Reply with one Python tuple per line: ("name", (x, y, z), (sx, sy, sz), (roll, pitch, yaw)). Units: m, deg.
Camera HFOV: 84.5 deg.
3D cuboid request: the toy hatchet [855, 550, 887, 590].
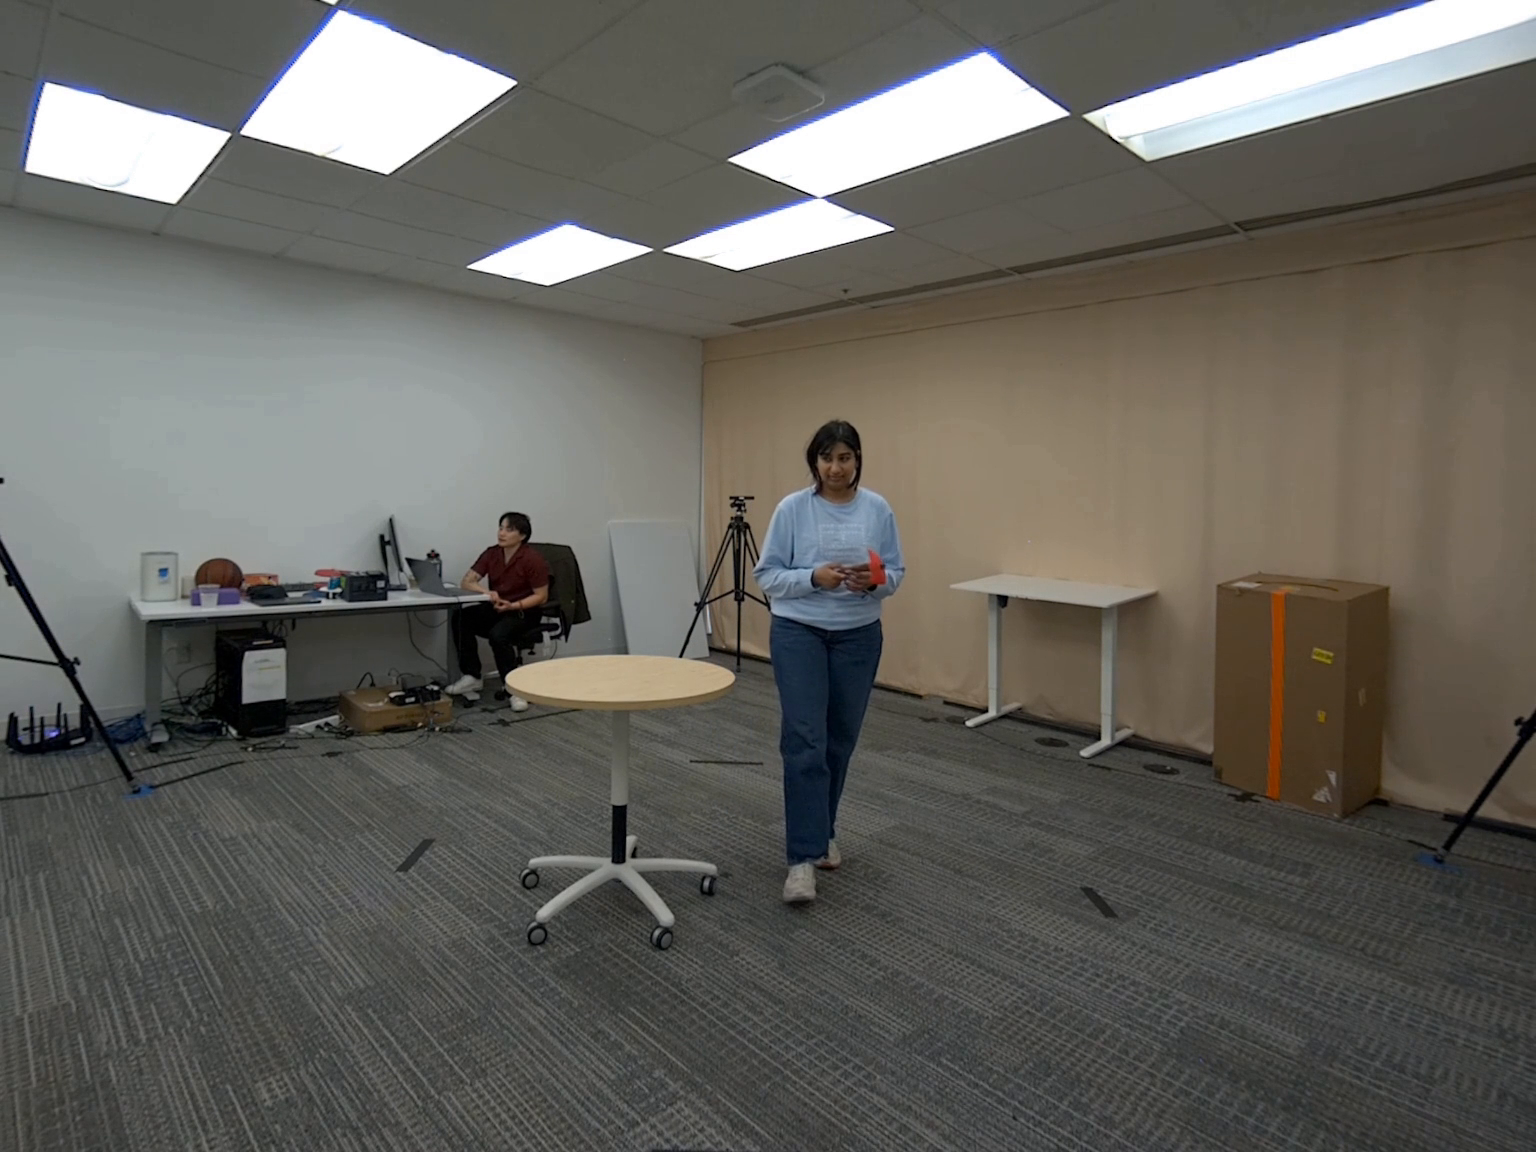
("toy hatchet", (0.301, 0.006, 2.925), (0.029, 0.131, 0.272), (-36, 2, -42))
